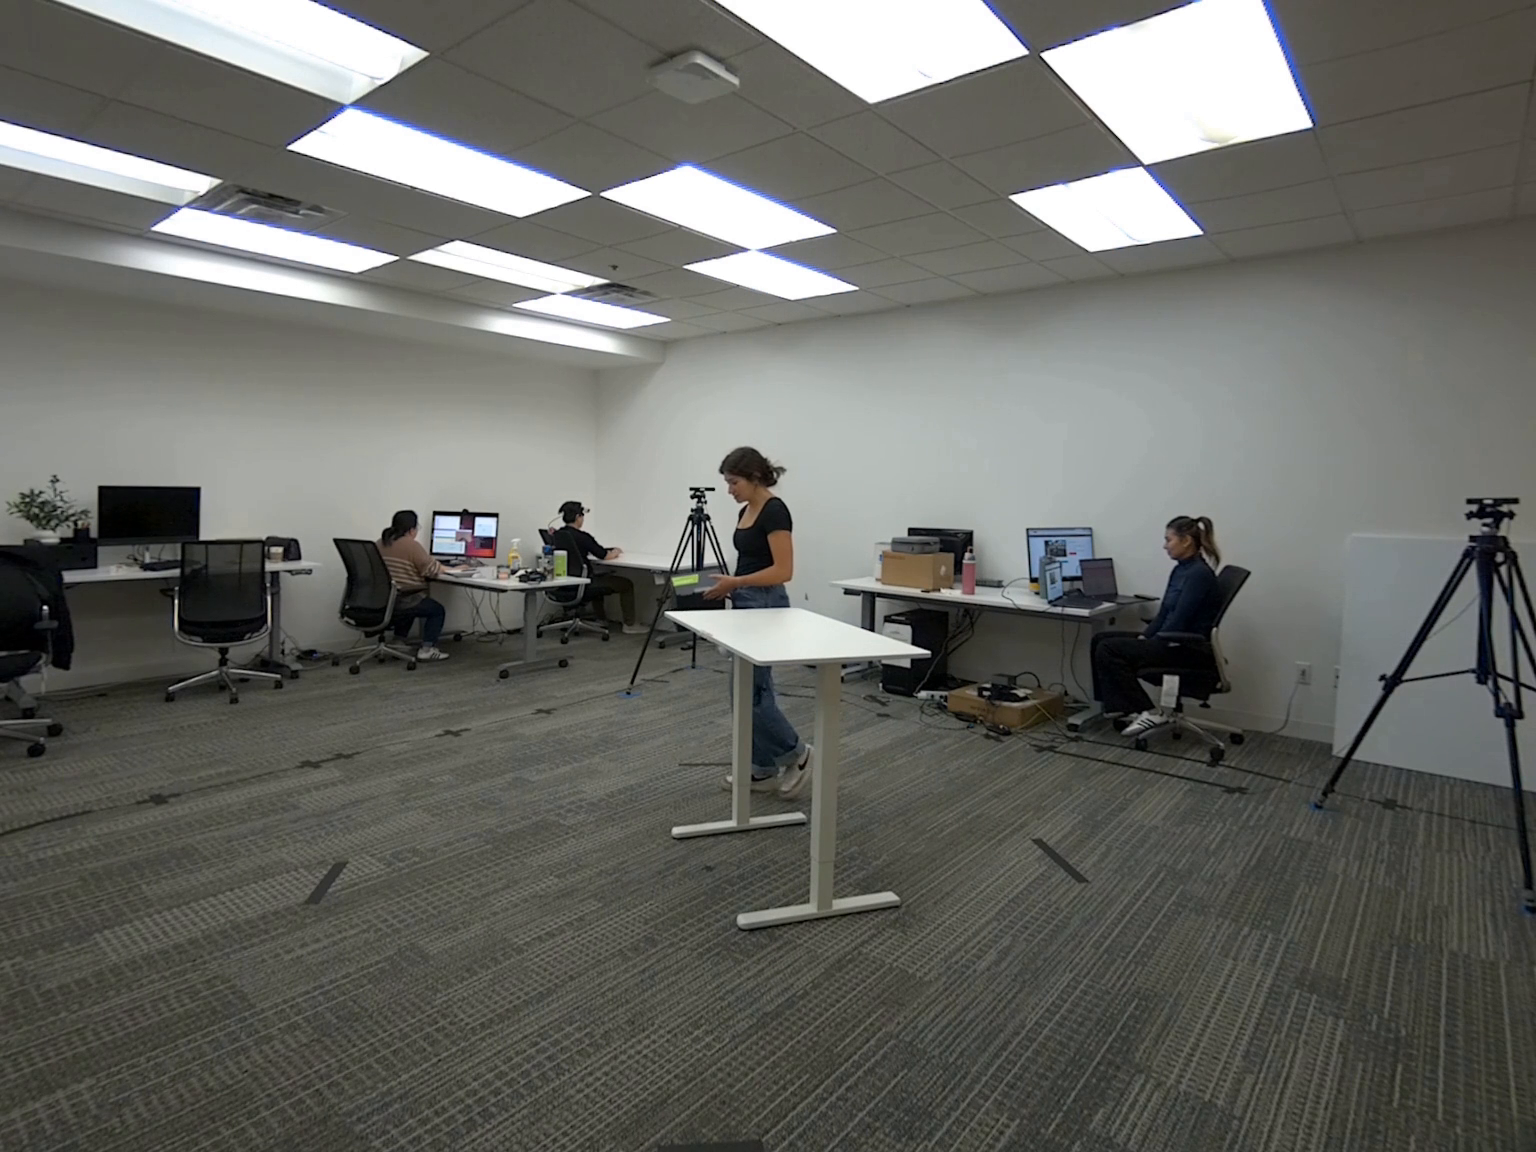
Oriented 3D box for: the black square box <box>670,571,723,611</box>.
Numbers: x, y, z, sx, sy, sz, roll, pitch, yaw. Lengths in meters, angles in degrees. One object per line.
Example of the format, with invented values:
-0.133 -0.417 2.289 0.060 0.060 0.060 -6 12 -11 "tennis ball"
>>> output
-0.327 0.105 3.902 0.225 0.211 0.162 -7 37 -13 "black square box"
